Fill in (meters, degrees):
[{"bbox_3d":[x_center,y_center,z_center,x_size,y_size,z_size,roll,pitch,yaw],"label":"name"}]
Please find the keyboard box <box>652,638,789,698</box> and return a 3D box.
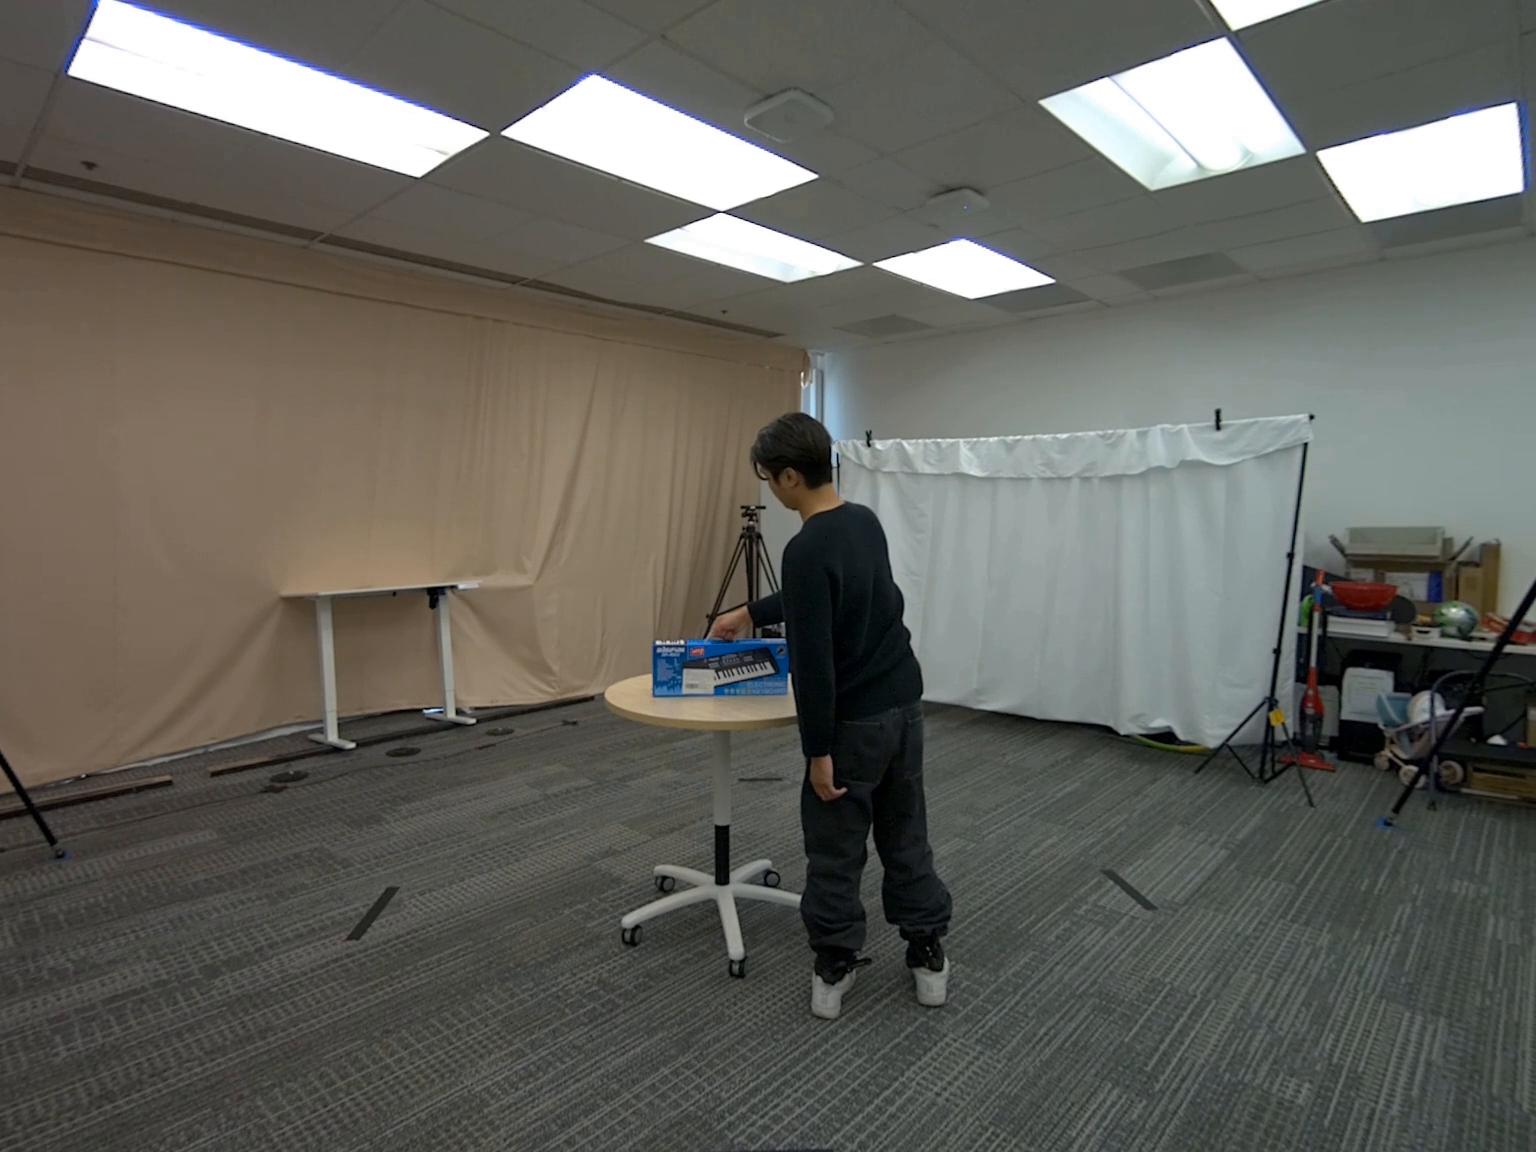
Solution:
[{"bbox_3d":[-0.156,0.298,2.708,0.434,0.175,0.060,0,9,-5],"label":"keyboard box"}]
